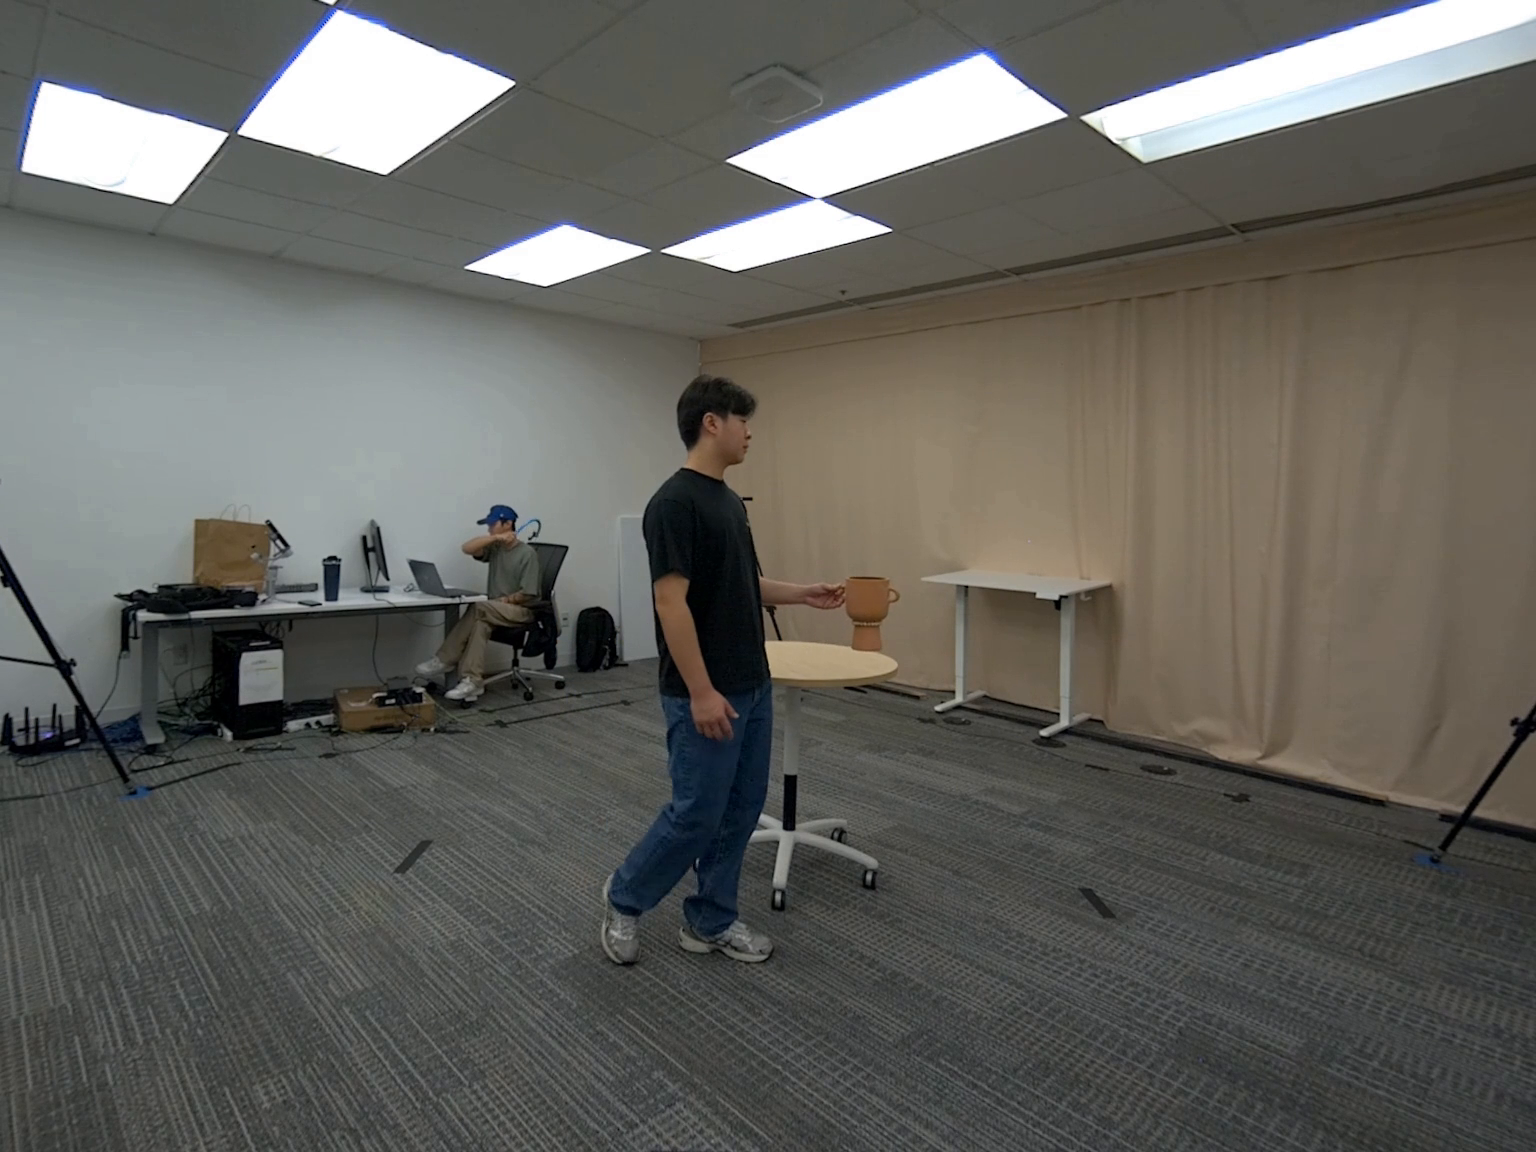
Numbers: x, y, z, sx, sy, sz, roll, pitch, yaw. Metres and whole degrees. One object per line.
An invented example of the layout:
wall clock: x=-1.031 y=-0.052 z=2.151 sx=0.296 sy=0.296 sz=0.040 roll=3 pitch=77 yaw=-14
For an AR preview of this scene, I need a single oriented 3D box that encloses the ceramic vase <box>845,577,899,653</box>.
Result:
ceramic vase: x=0.289 y=0.115 z=2.602 sx=0.132 sy=0.219 sz=0.162 roll=1 pitch=2 yaw=-28
